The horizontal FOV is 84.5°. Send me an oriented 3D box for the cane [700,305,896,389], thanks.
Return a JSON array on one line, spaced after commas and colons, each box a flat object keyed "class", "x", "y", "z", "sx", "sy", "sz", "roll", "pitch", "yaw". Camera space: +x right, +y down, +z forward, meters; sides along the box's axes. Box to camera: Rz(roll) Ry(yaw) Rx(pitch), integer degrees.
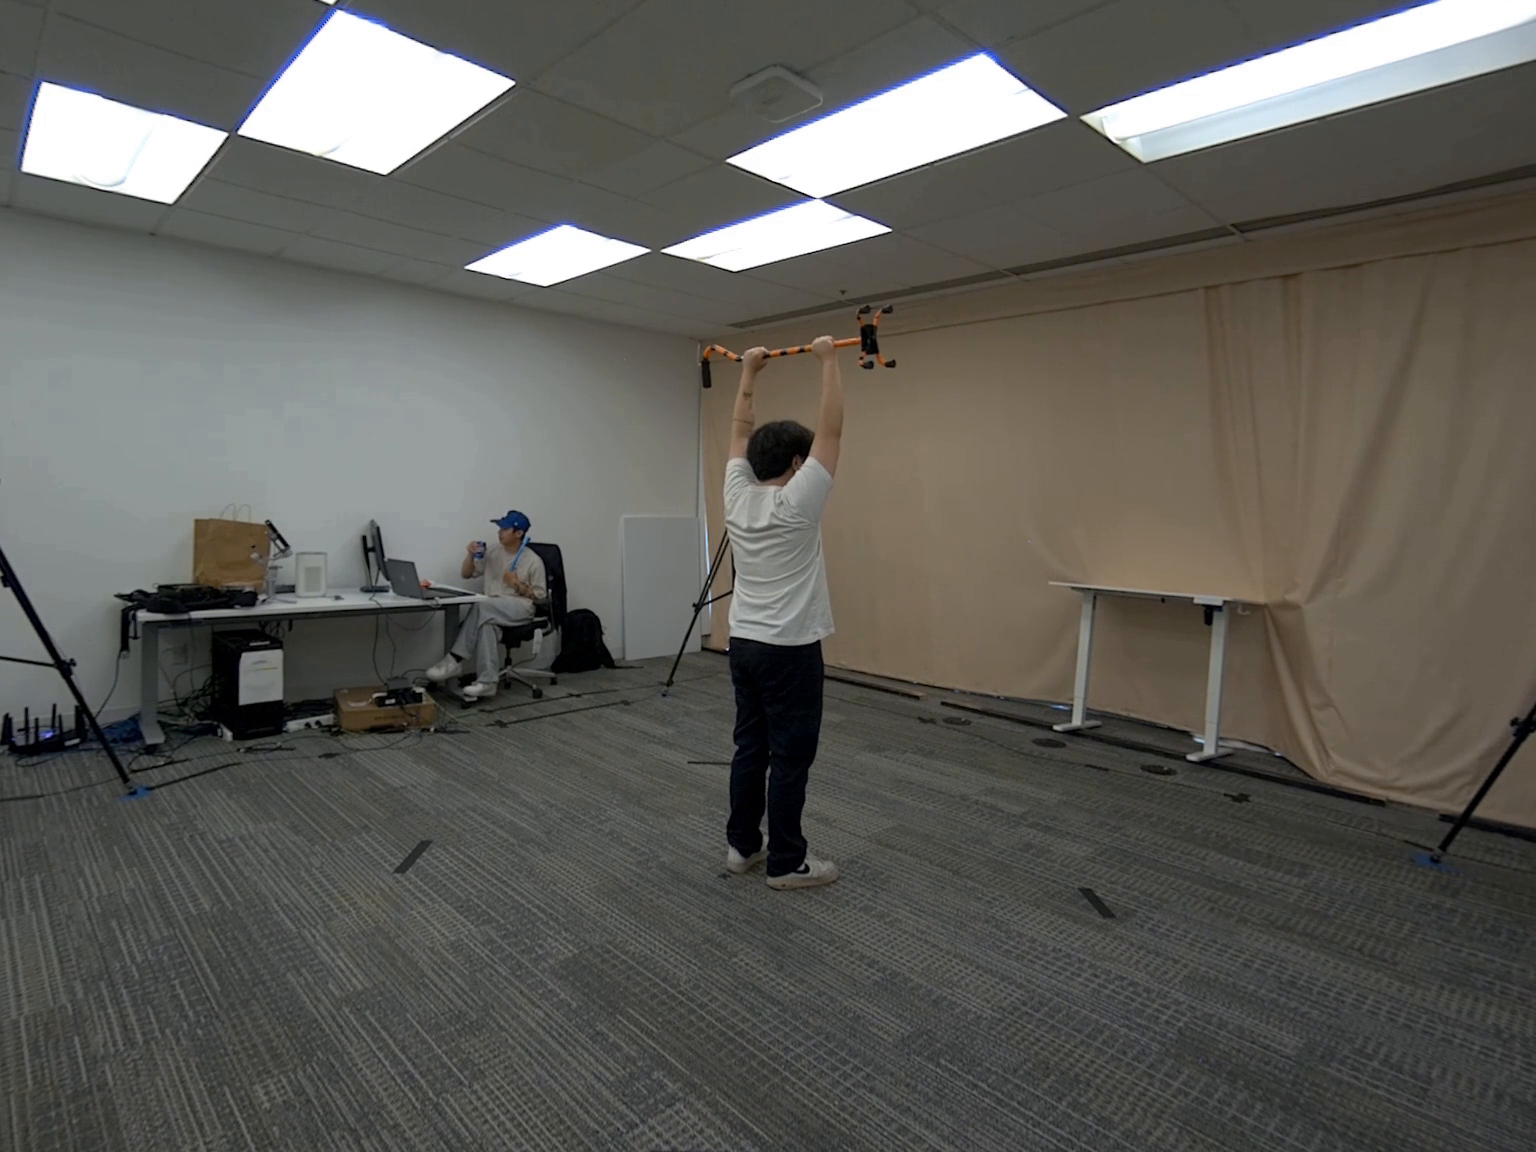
[{"class": "cane", "x": 0.049, "y": -0.829, "z": 3.109, "sx": 0.149, "sy": 0.205, "sz": 0.931, "roll": -11, "pitch": 12, "yaw": -43}]
